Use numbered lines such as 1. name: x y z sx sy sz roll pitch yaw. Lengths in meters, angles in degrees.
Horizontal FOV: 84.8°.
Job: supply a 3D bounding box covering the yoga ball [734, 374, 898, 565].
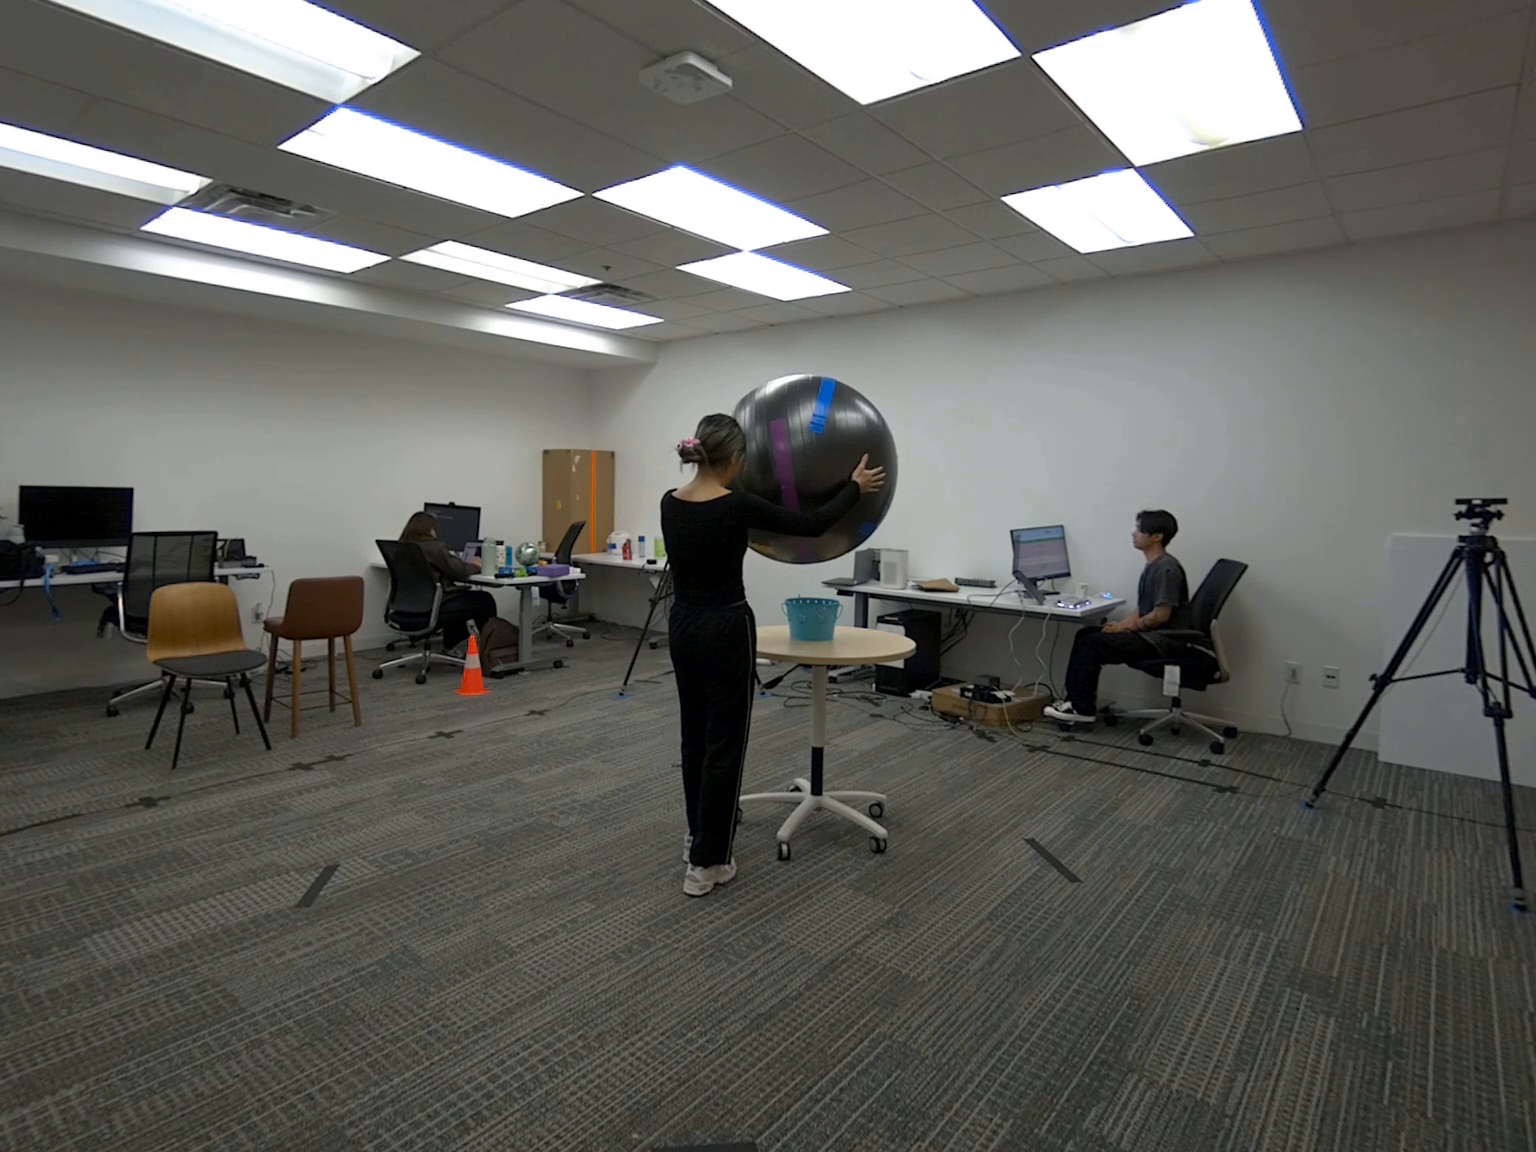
1. yoga ball: 0.138 -0.424 3.436 0.757 0.756 0.762 1 4 -2
